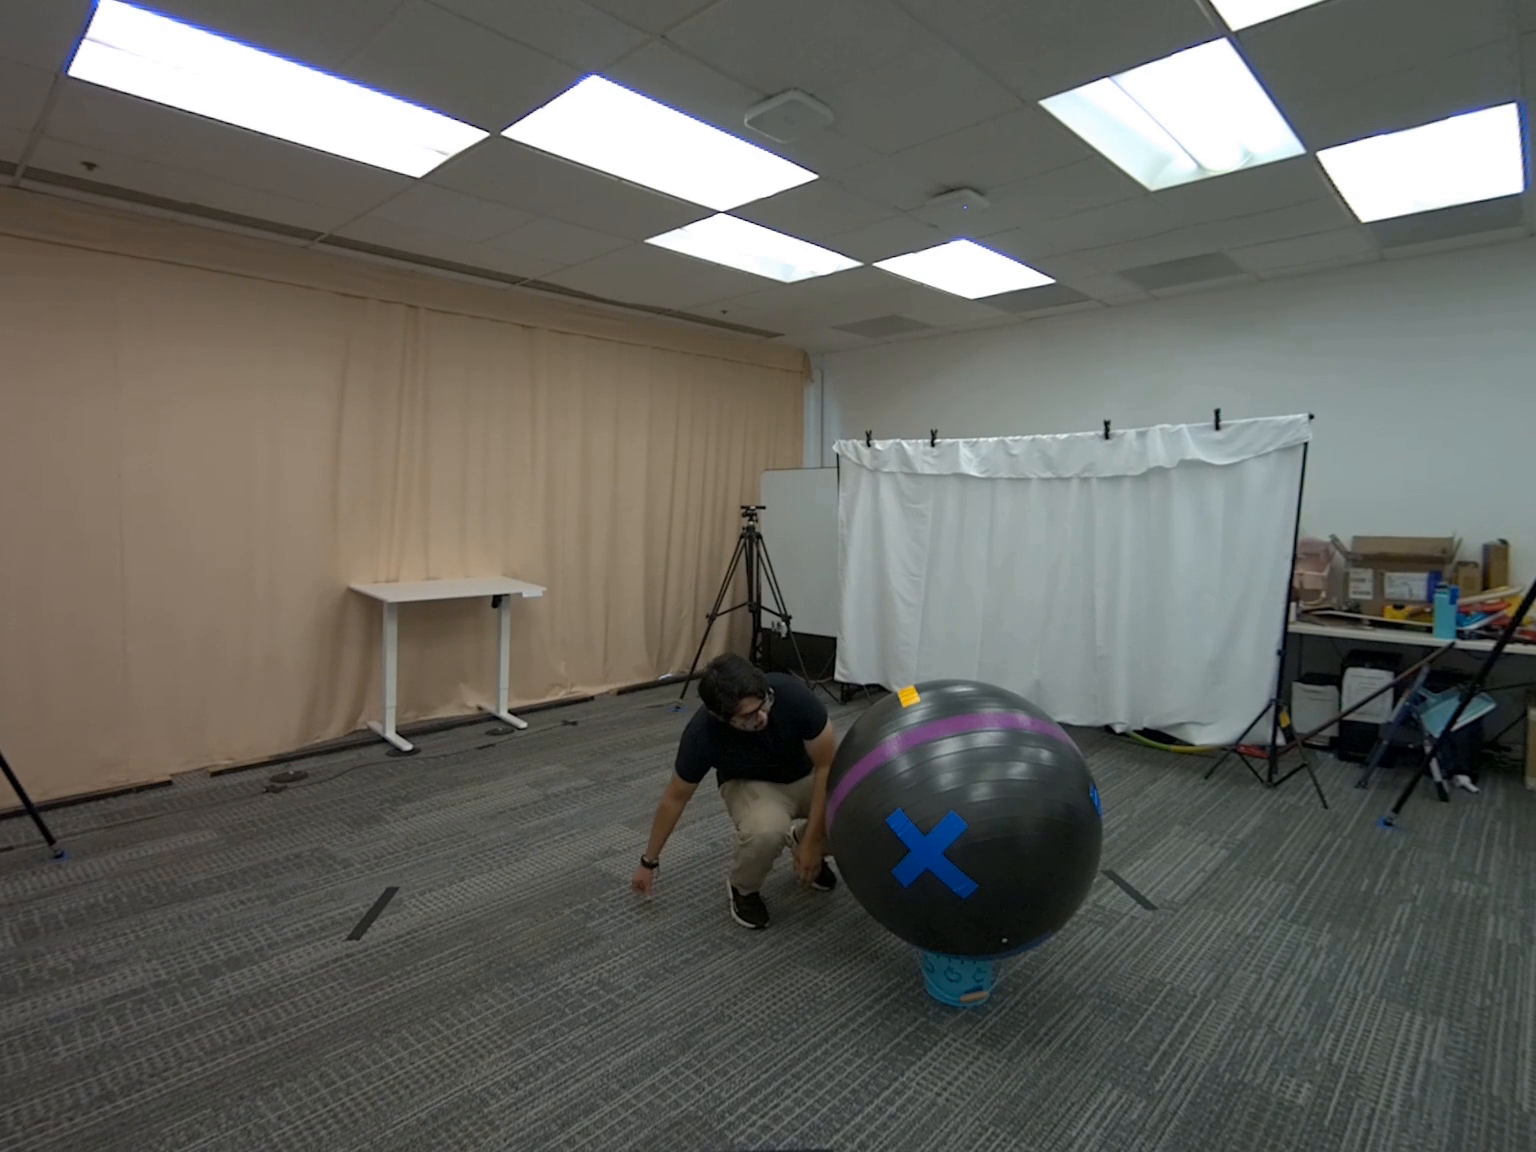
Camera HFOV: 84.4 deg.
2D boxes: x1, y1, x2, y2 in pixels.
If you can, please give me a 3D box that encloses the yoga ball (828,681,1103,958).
[{"bbox_3d":[0.548,0.683,2.411,0.757,0.756,0.760,0,4,-2],"label":"yoga ball"}]
